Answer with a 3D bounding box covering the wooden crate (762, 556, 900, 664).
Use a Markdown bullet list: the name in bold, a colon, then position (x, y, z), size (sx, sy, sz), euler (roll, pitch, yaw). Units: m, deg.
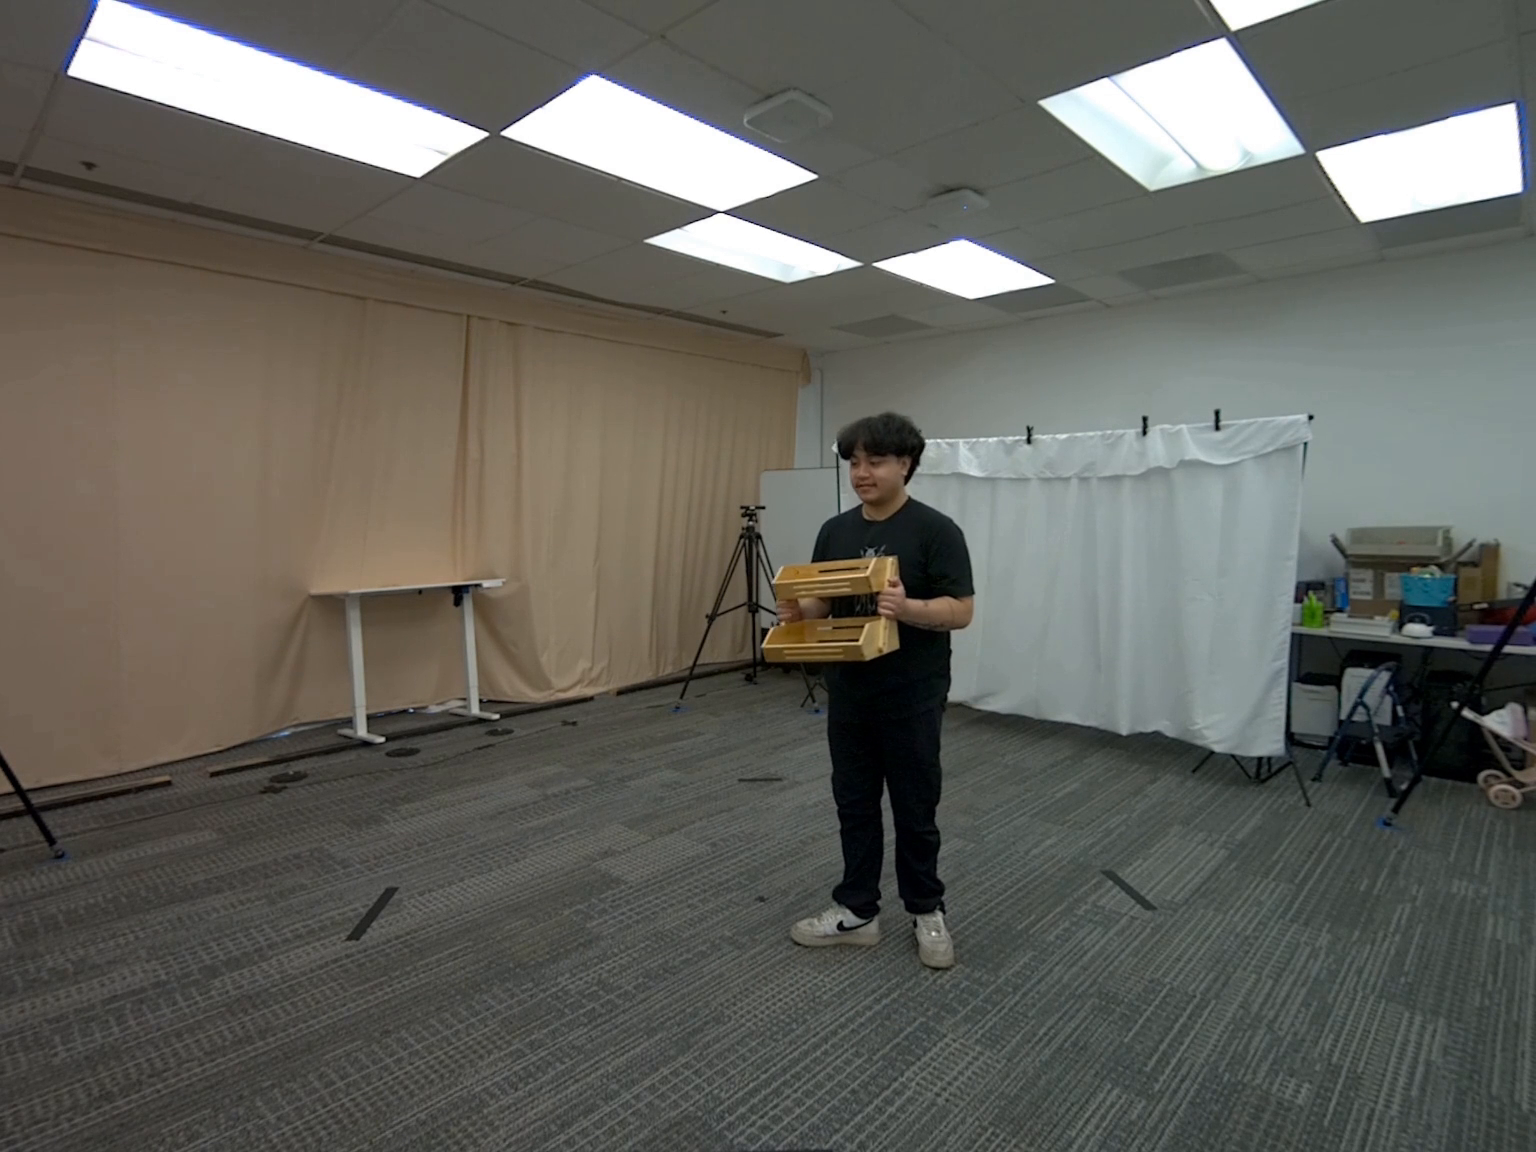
- **wooden crate**: position (0.178, 0.086, 2.369), size (0.333, 0.273, 0.294), euler (-4, 1, 32)
